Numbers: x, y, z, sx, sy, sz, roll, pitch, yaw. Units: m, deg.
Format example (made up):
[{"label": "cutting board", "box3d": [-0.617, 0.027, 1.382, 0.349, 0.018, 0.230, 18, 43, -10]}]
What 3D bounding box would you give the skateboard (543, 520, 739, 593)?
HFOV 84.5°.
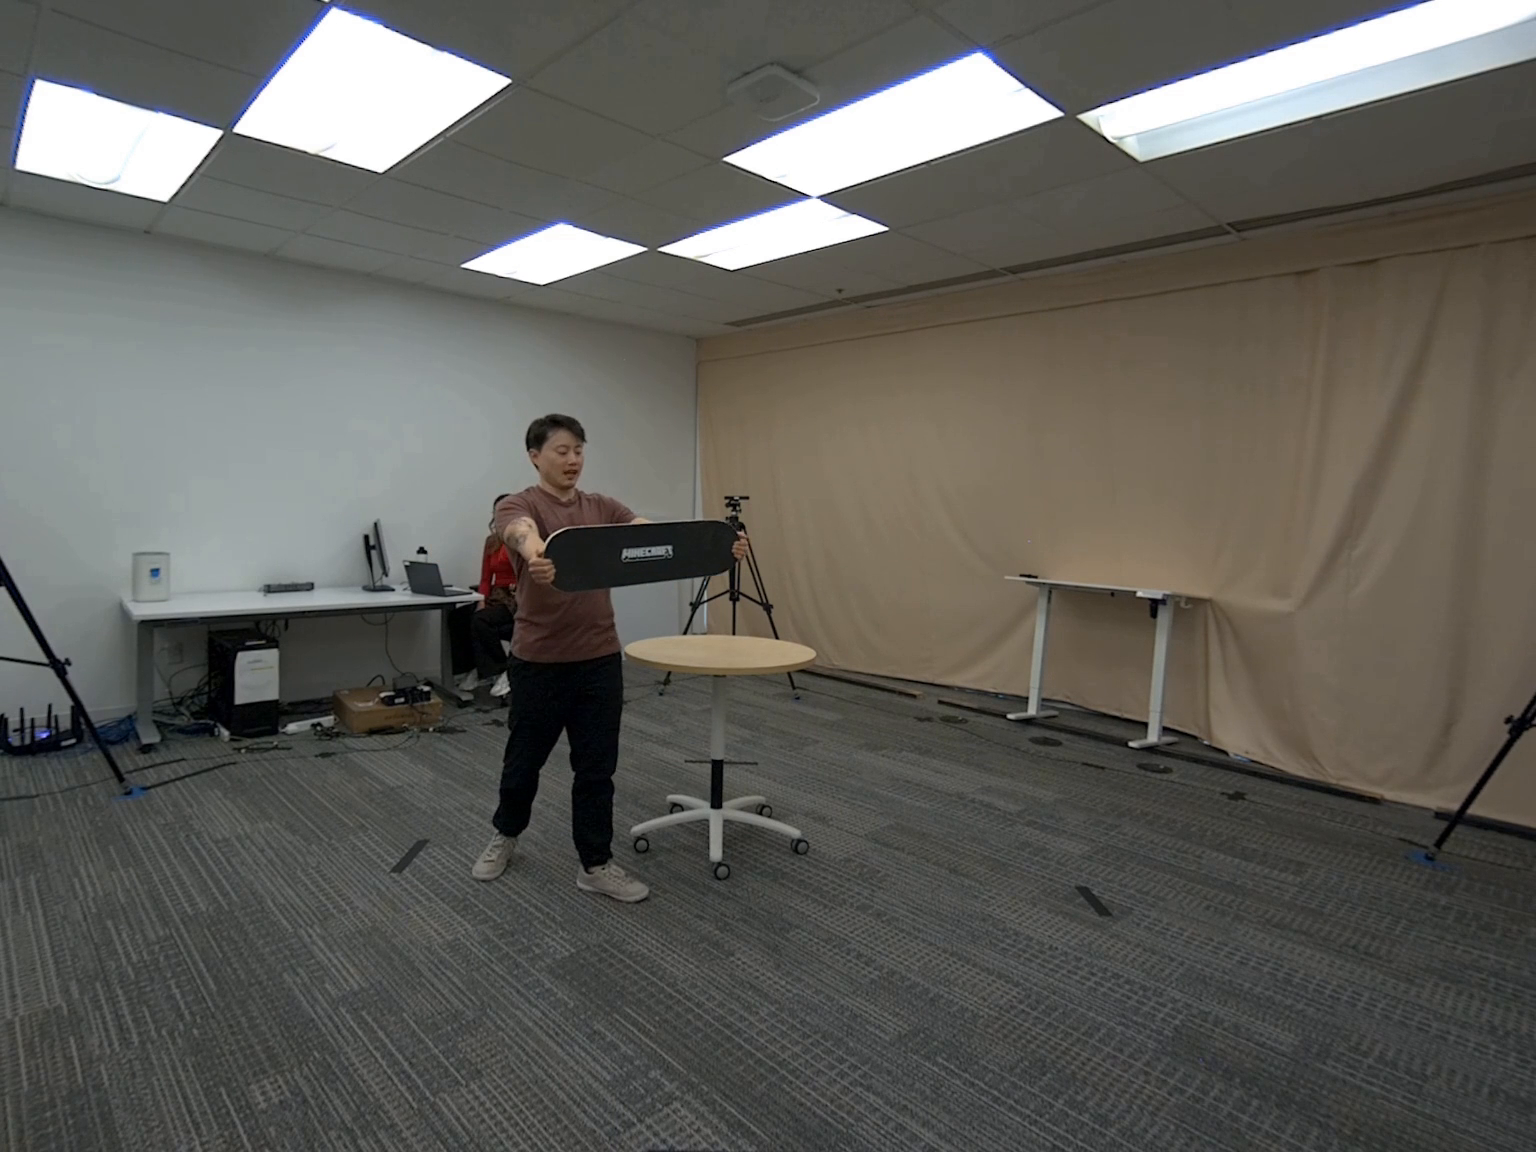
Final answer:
[{"label": "skateboard", "box3d": [-0.416, -0.076, 2.676, 0.113, 0.193, 0.769, 2, 7, 43]}]
